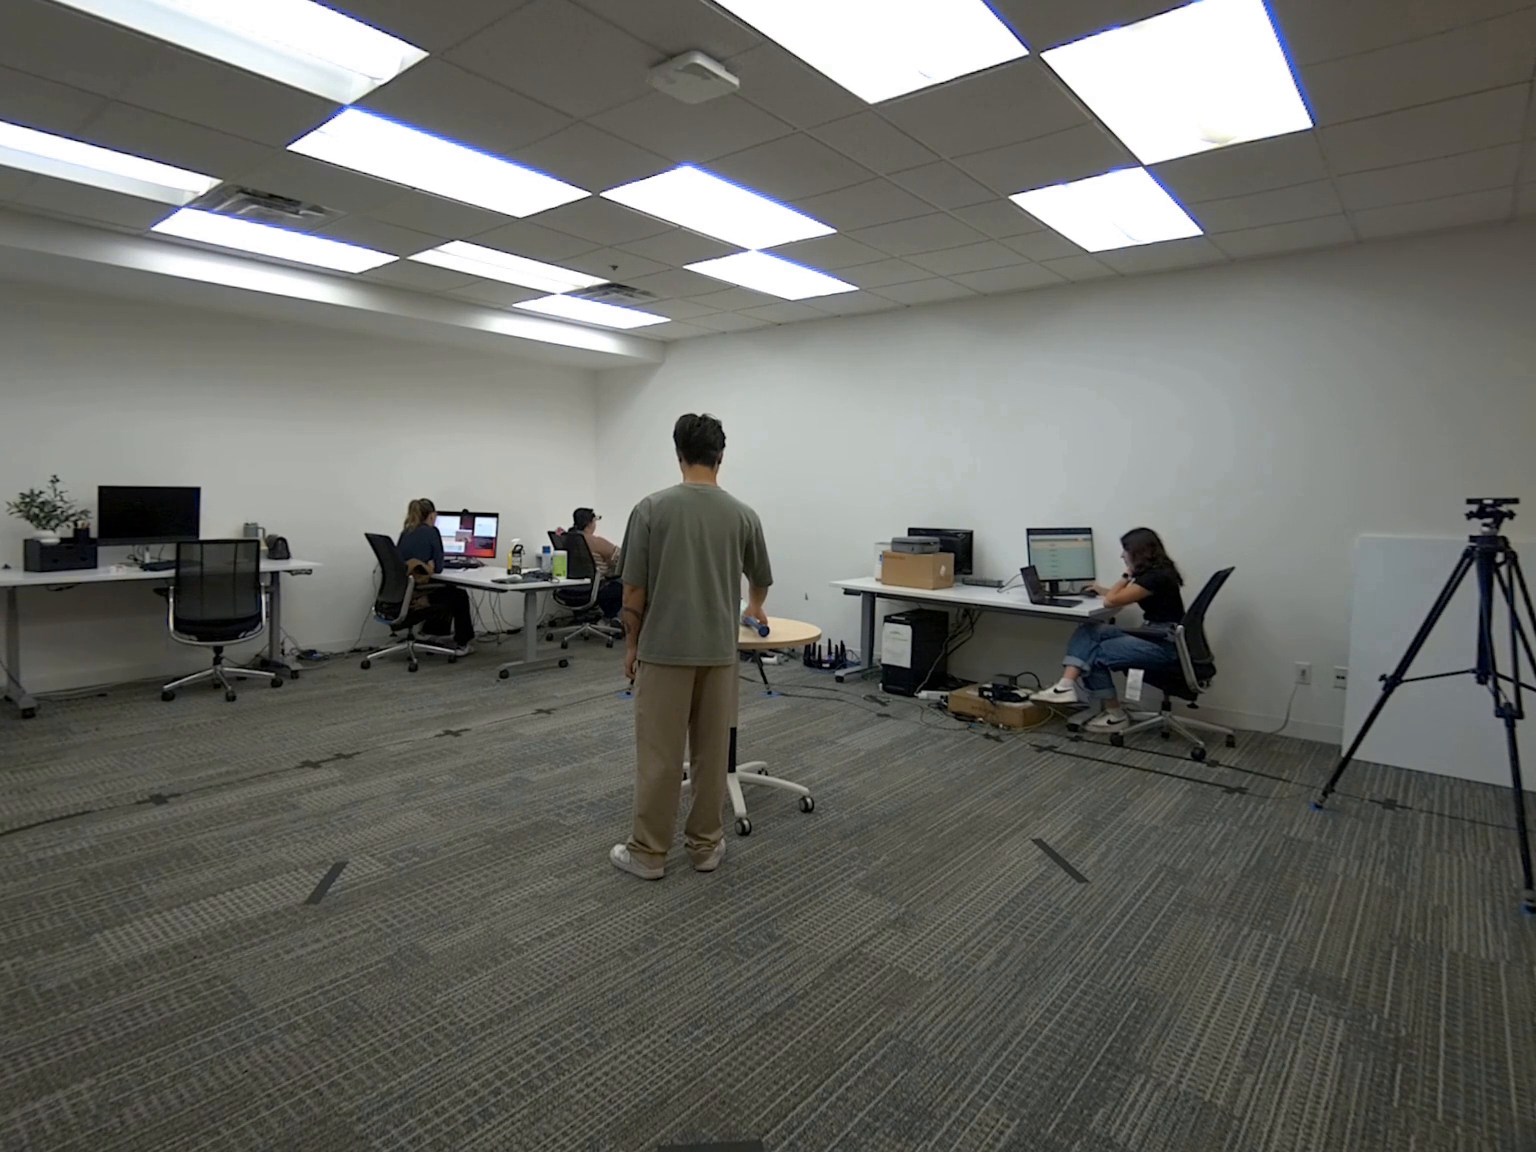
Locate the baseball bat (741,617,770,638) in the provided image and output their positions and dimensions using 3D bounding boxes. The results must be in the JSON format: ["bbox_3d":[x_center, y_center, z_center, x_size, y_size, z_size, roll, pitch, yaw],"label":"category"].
[{"bbox_3d":[-0.094,0.183,3.749,0.088,0.088,0.555,0,9,-16],"label":"baseball bat"}]
